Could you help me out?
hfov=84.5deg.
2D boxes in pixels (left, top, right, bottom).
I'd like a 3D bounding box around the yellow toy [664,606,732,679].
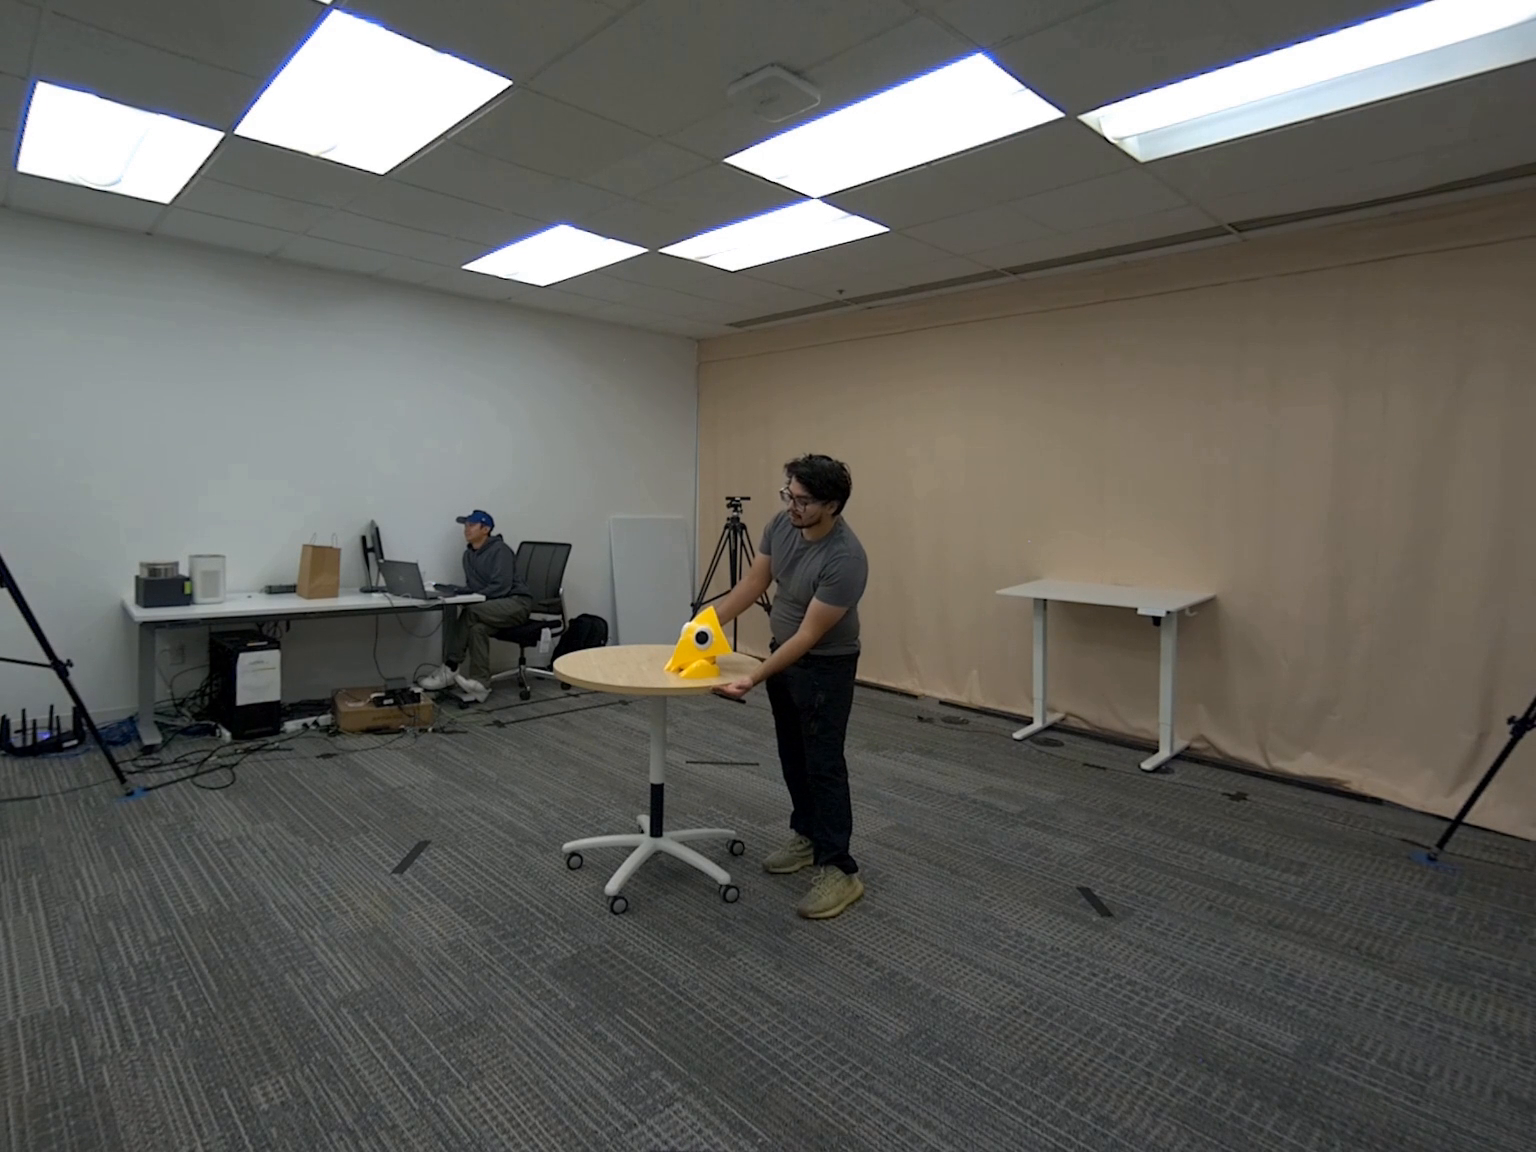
[{"bbox_3d":[-0.257,0.228,2.942,0.189,0.230,0.209,-3,7,-29],"label":"yellow toy"}]
